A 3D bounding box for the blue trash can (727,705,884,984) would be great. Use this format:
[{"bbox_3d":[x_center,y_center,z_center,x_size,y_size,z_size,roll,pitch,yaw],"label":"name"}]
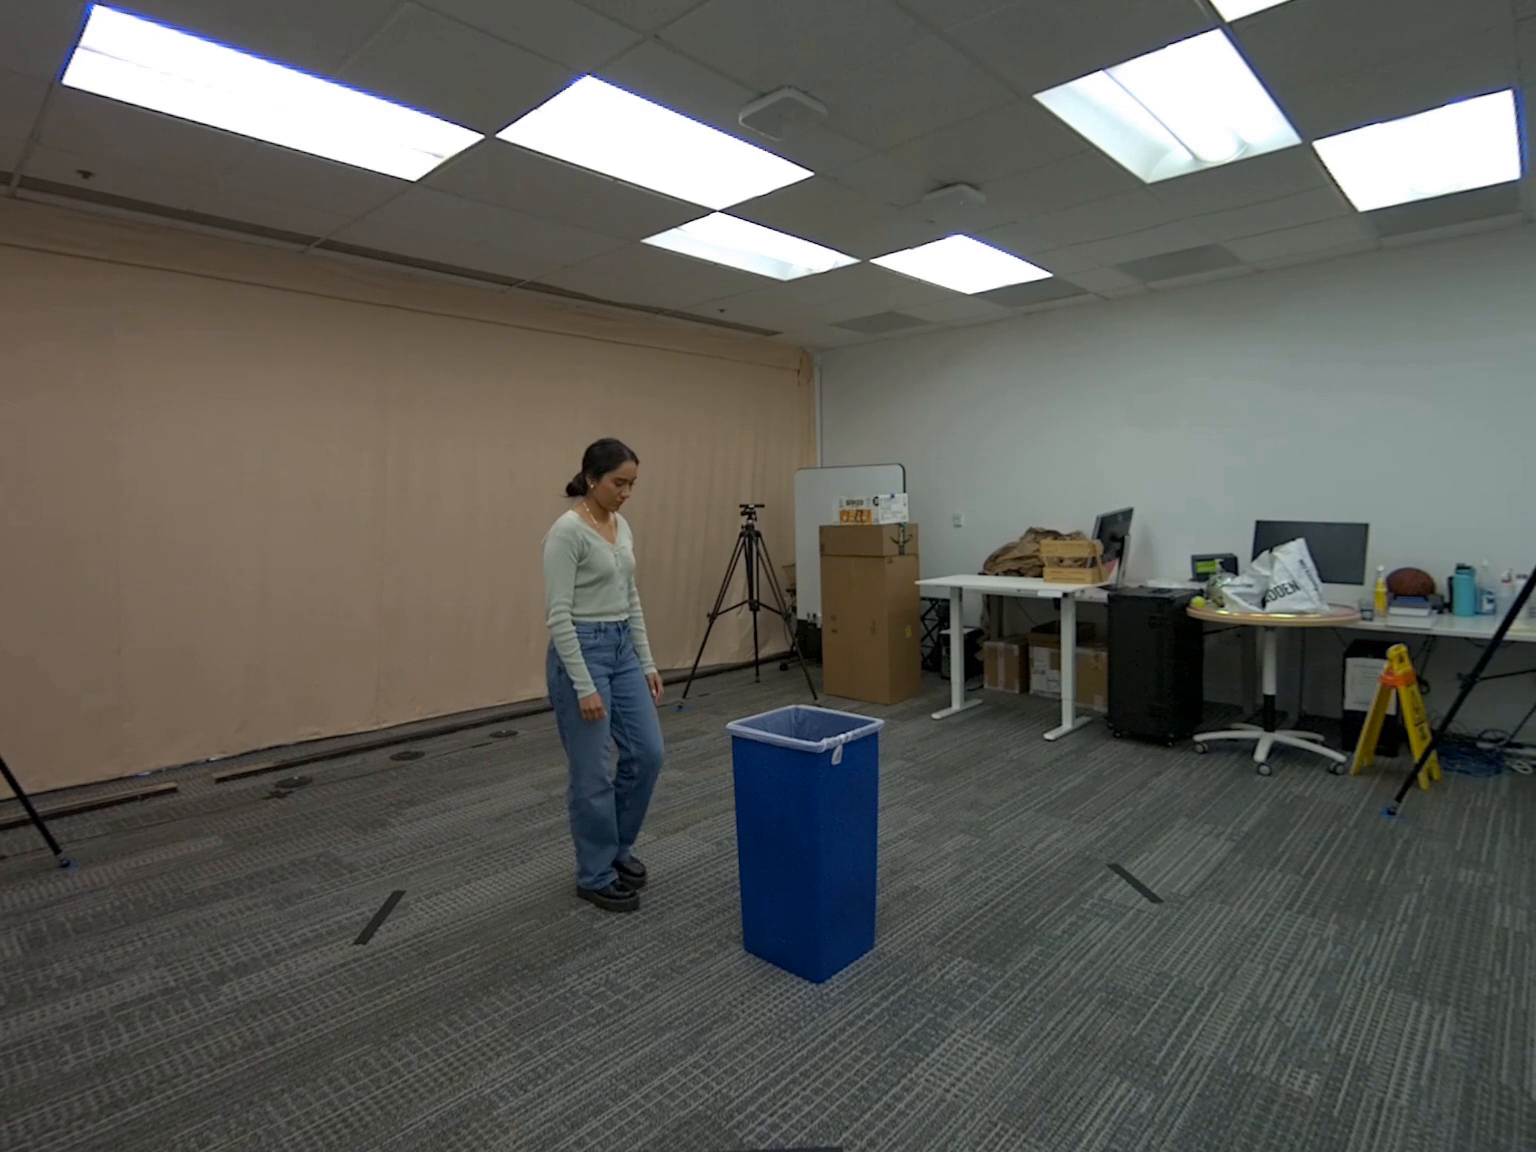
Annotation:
[{"bbox_3d":[0.119,0.811,2.625,0.386,0.712,0.366,2,4,41],"label":"blue trash can"}]
